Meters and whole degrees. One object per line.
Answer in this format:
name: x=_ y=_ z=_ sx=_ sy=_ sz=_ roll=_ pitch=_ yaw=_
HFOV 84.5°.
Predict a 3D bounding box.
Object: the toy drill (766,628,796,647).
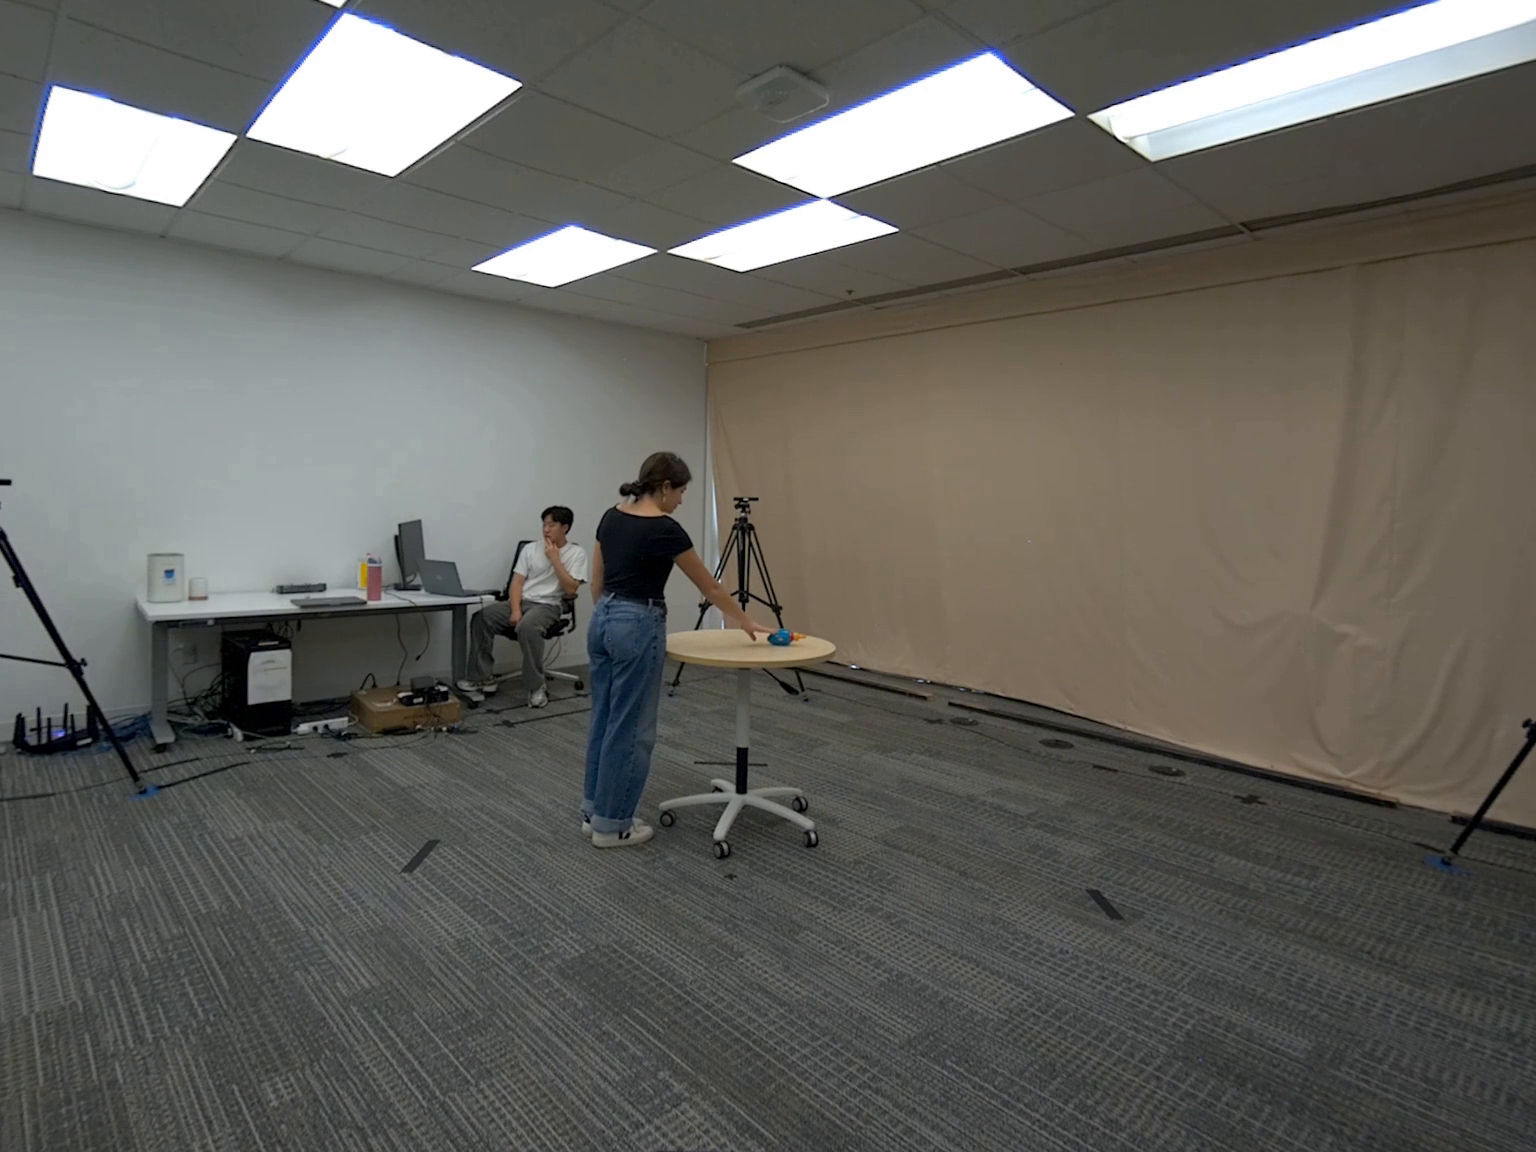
toy drill: x=0.072 y=0.258 z=3.574 sx=0.171 sy=0.061 sz=0.145 roll=-6 pitch=3 yaw=13
